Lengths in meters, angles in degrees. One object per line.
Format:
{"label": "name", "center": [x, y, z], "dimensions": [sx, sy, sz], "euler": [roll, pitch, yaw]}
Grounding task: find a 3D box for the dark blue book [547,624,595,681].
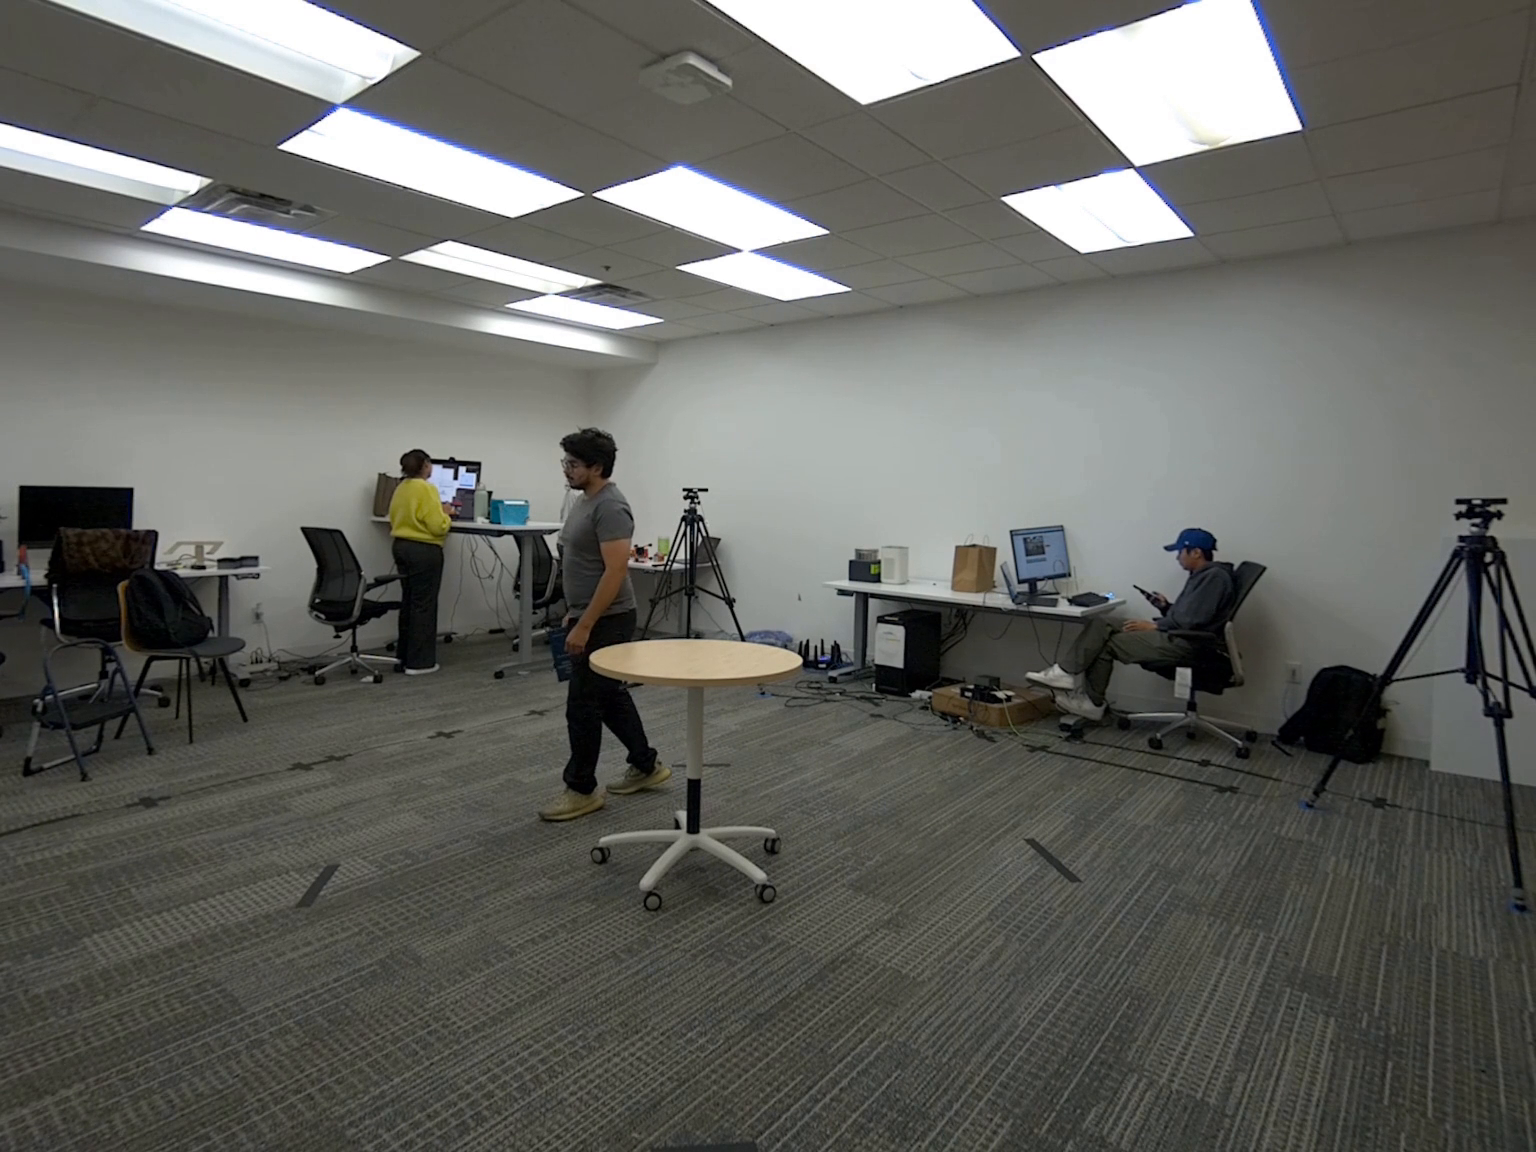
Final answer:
{"label": "dark blue book", "center": [-0.932, 0.349, 3.970], "dimensions": [0.163, 0.245, 0.045], "euler": [-12, 0, -2]}
